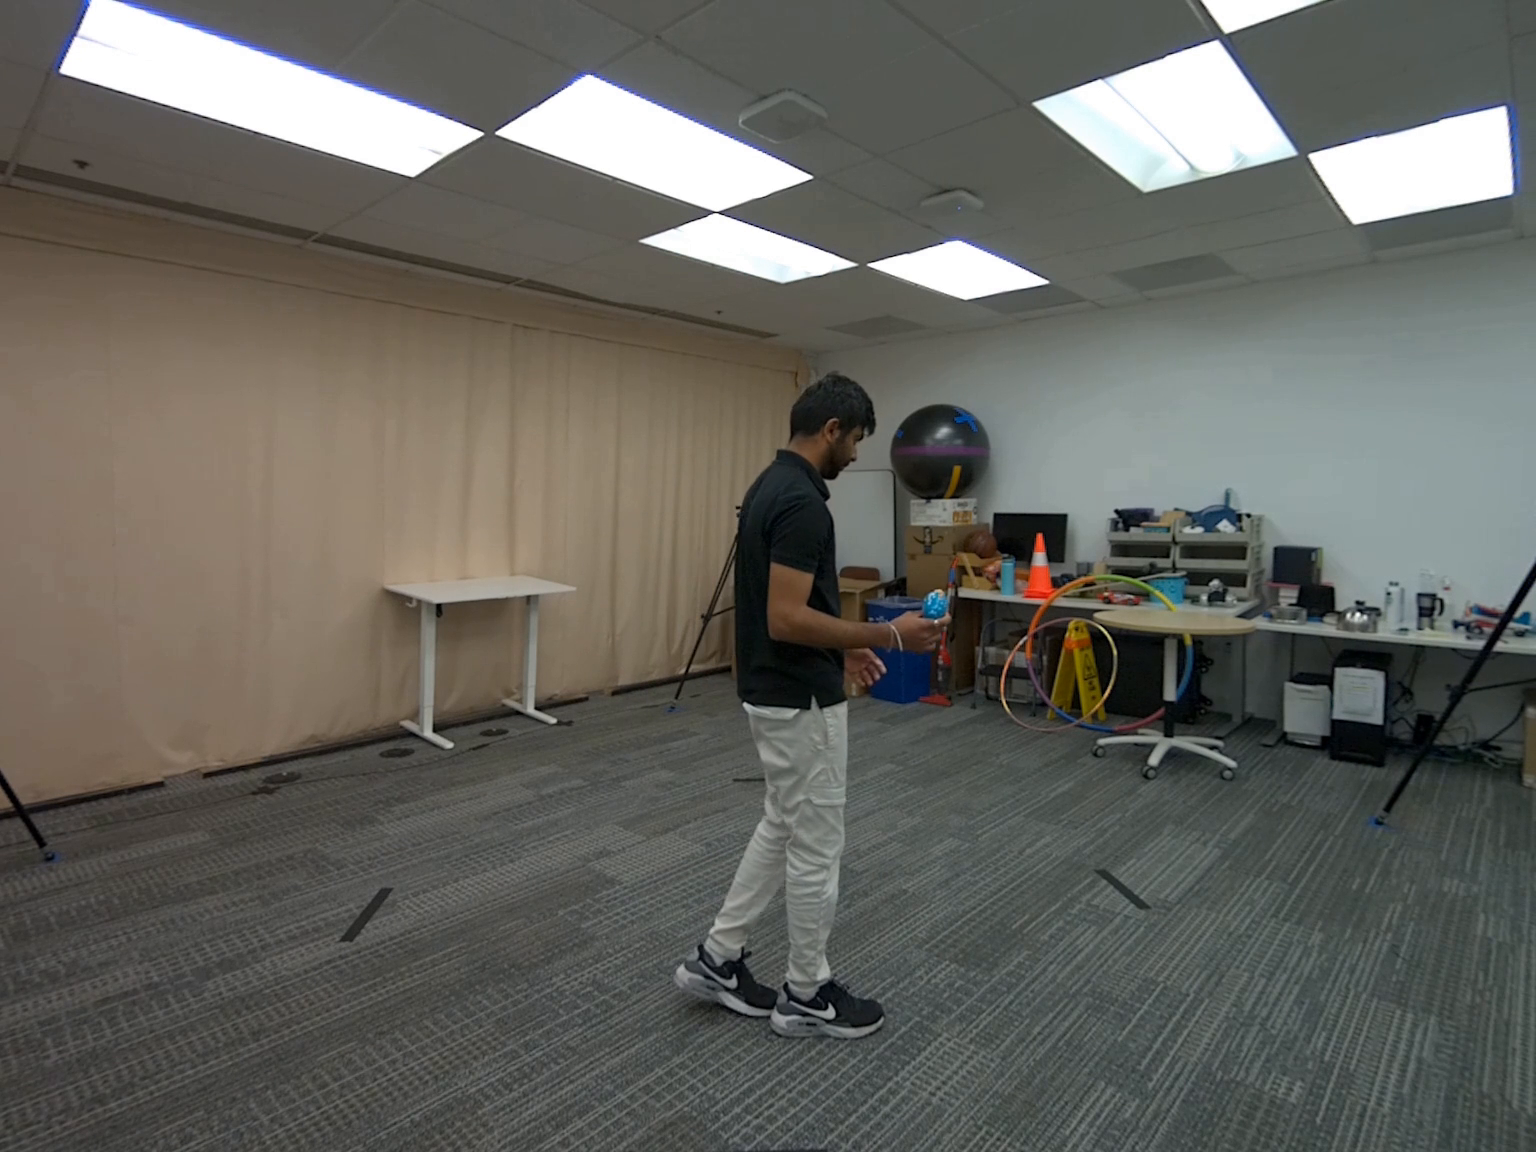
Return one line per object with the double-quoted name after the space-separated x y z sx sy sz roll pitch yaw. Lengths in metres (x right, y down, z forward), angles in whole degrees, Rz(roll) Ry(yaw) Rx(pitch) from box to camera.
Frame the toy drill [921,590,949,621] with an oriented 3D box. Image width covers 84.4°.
0.384 0.099 2.096 0.061 0.146 0.169 30 23 0 "toy drill"
